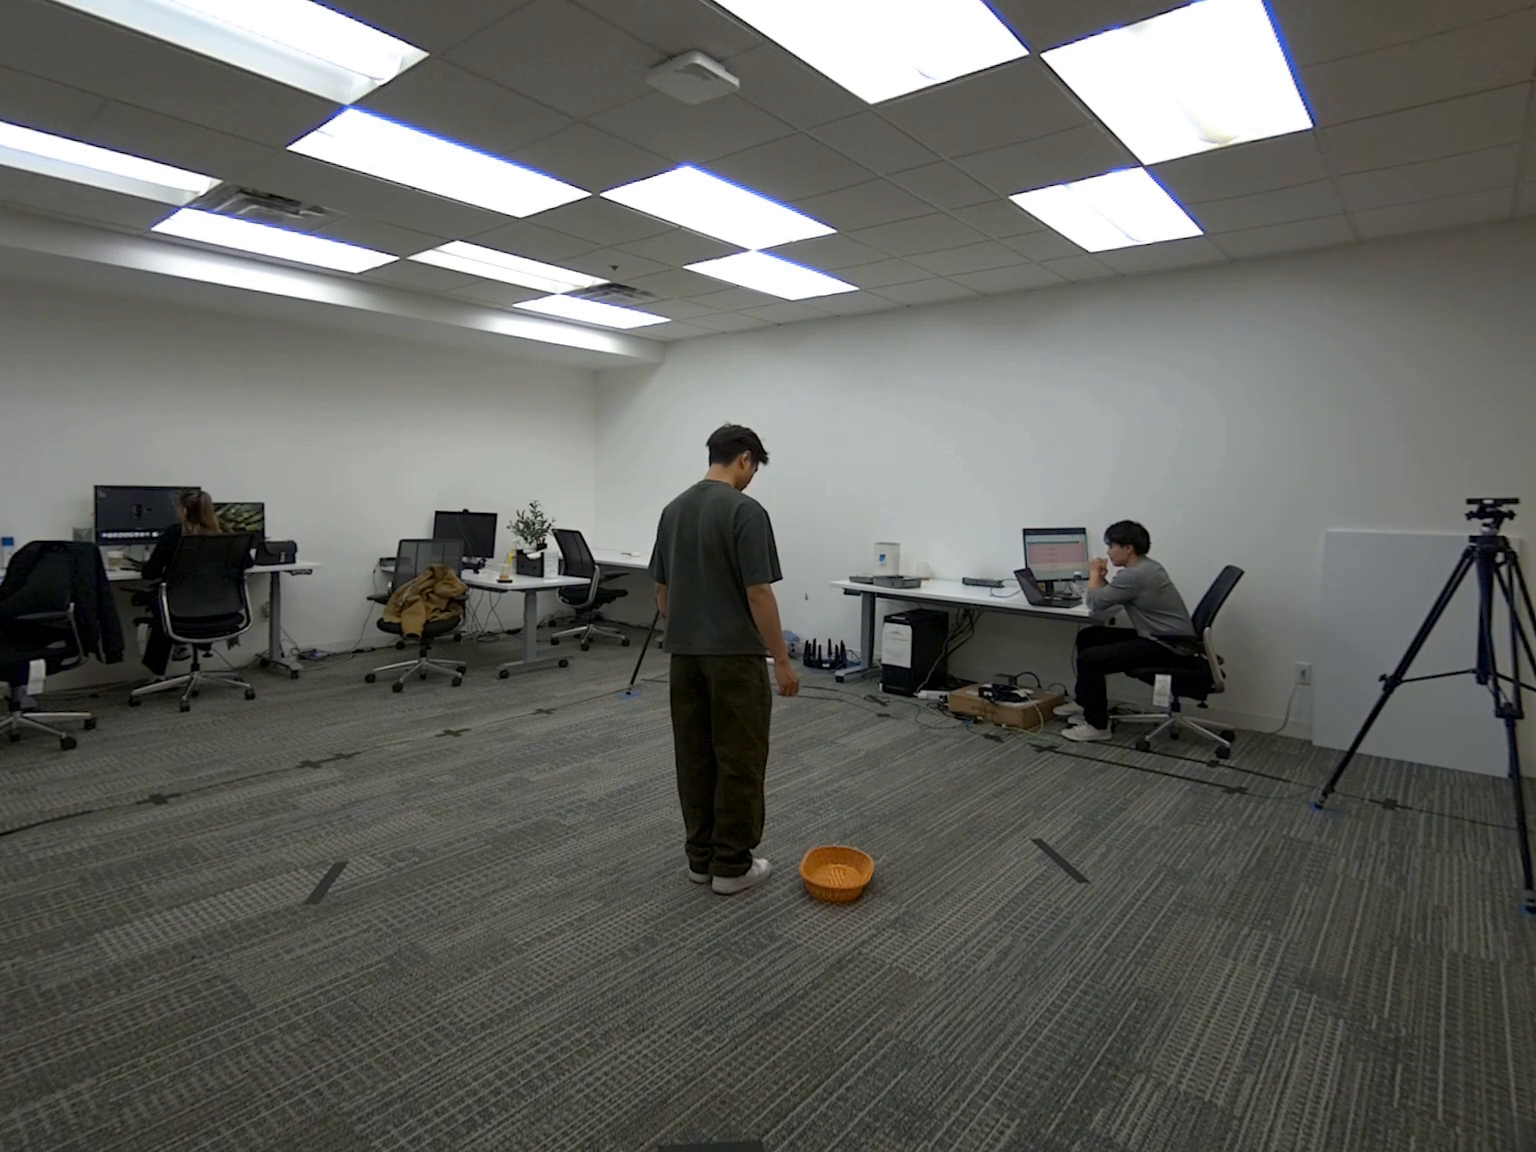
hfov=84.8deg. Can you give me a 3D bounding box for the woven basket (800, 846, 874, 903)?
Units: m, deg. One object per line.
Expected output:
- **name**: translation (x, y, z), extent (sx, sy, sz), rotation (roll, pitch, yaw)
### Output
- **woven basket**: translation (0.234, 1.050, 3.003), extent (0.258, 0.073, 0.344), rotation (3, 6, 19)
